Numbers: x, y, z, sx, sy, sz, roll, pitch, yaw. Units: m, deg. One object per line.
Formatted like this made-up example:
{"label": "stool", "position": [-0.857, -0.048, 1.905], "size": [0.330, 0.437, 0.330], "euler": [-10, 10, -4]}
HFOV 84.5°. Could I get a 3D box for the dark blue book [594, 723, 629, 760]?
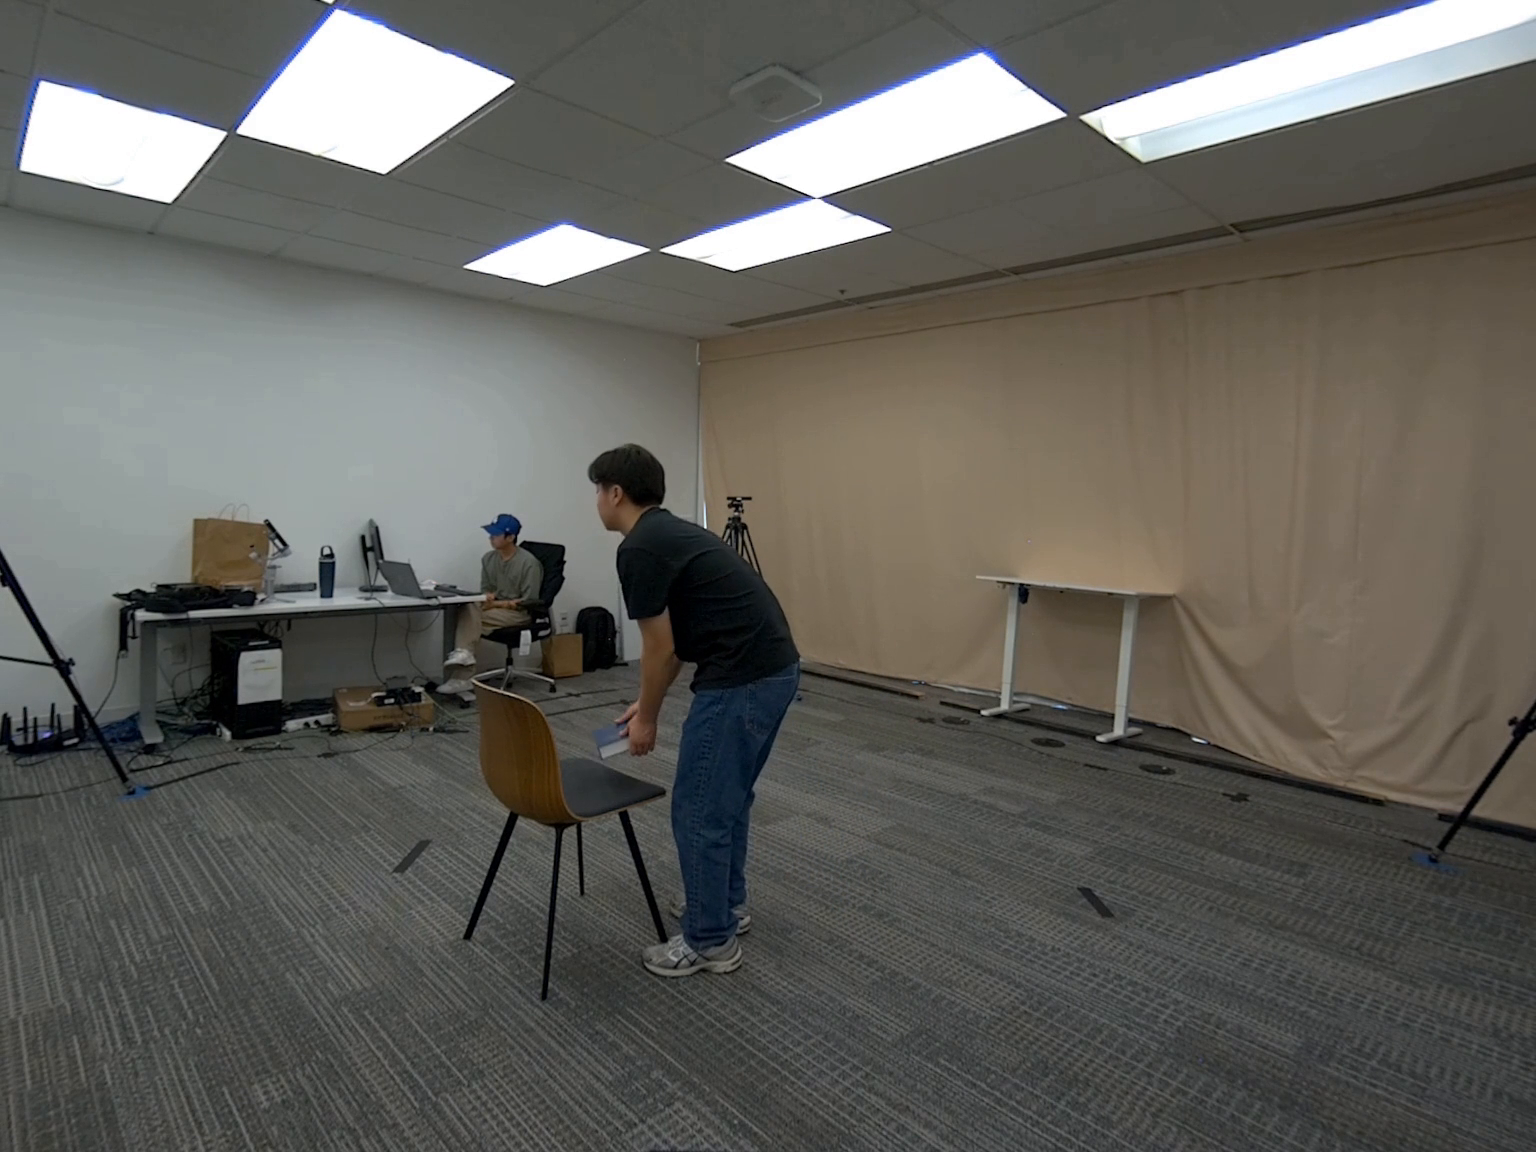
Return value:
{"label": "dark blue book", "position": [-0.473, 0.513, 2.686], "size": [0.162, 0.045, 0.247], "euler": [-15, 5, -13]}
